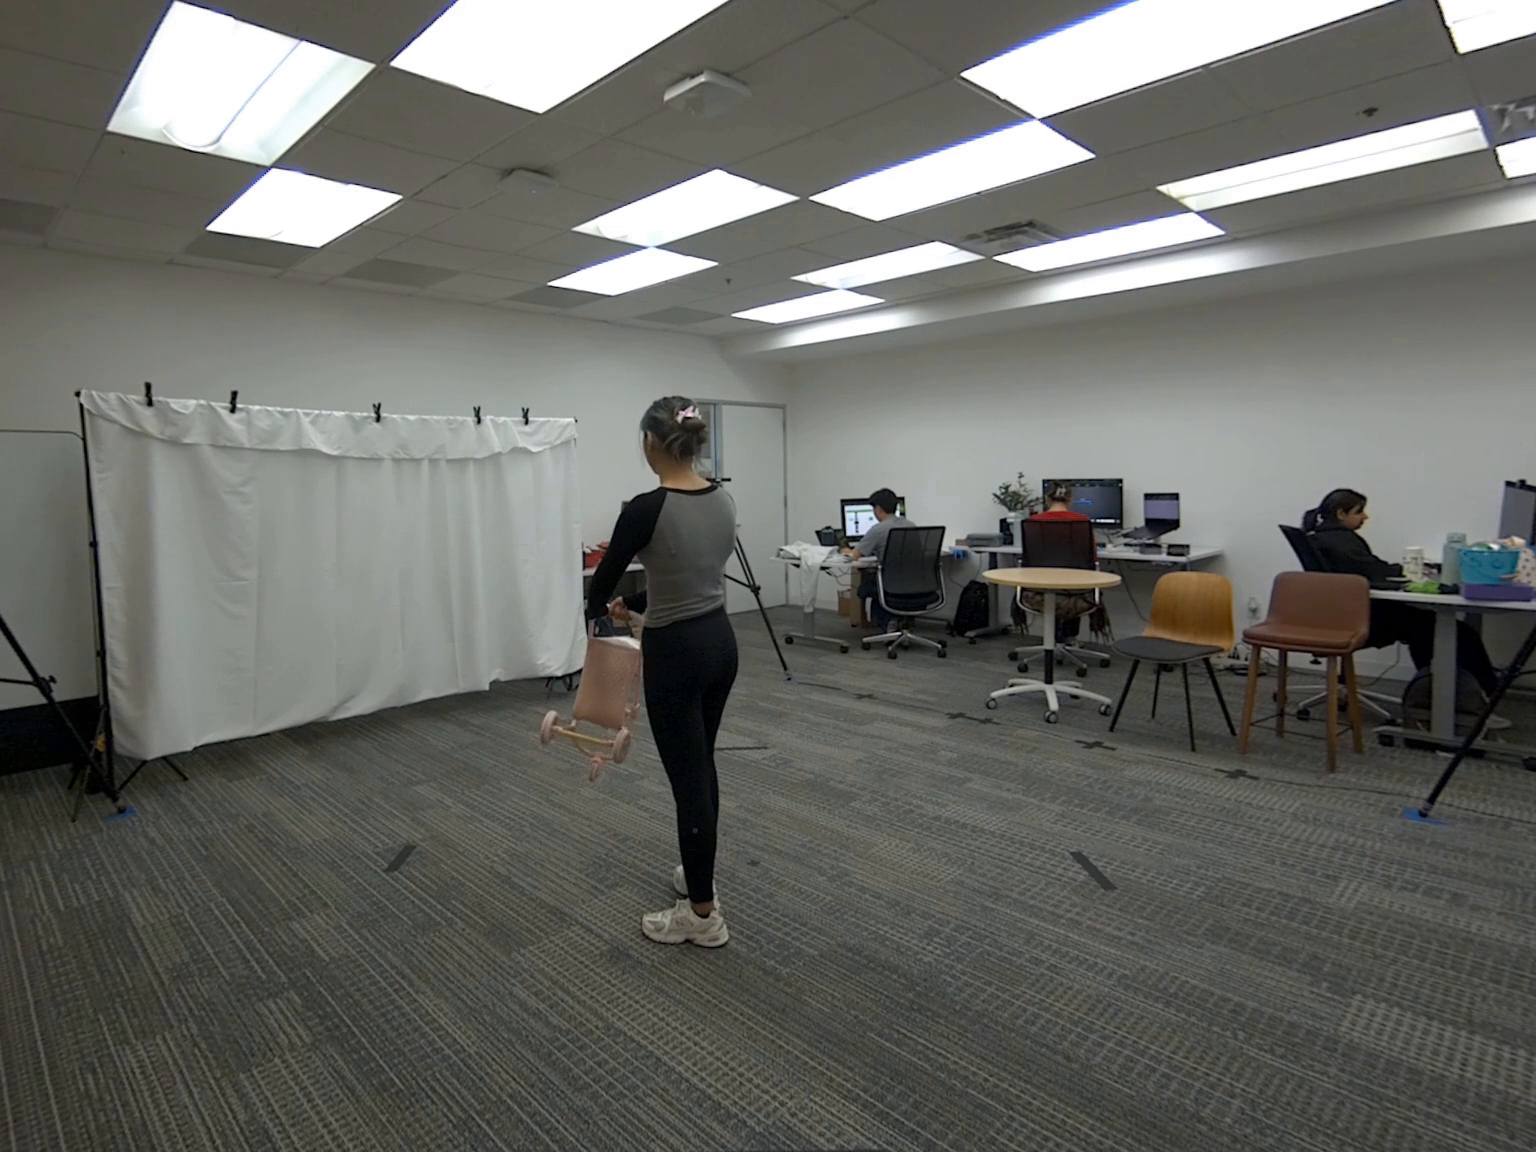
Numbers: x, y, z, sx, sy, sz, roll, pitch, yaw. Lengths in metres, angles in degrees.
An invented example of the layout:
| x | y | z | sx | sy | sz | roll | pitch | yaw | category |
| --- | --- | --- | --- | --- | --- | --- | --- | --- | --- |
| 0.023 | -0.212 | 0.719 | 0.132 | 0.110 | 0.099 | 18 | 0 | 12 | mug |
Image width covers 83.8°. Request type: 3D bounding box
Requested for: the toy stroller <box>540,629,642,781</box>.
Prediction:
| x | y | z | sx | sy | sz | roll | pitch | yaw | category |
| --- | --- | --- | --- | --- | --- | --- | --- | --- | --- |
| -0.545 | 0.410 | 2.903 | 0.285 | 0.542 | 0.332 | 9 | -22 | 10 | toy stroller |
